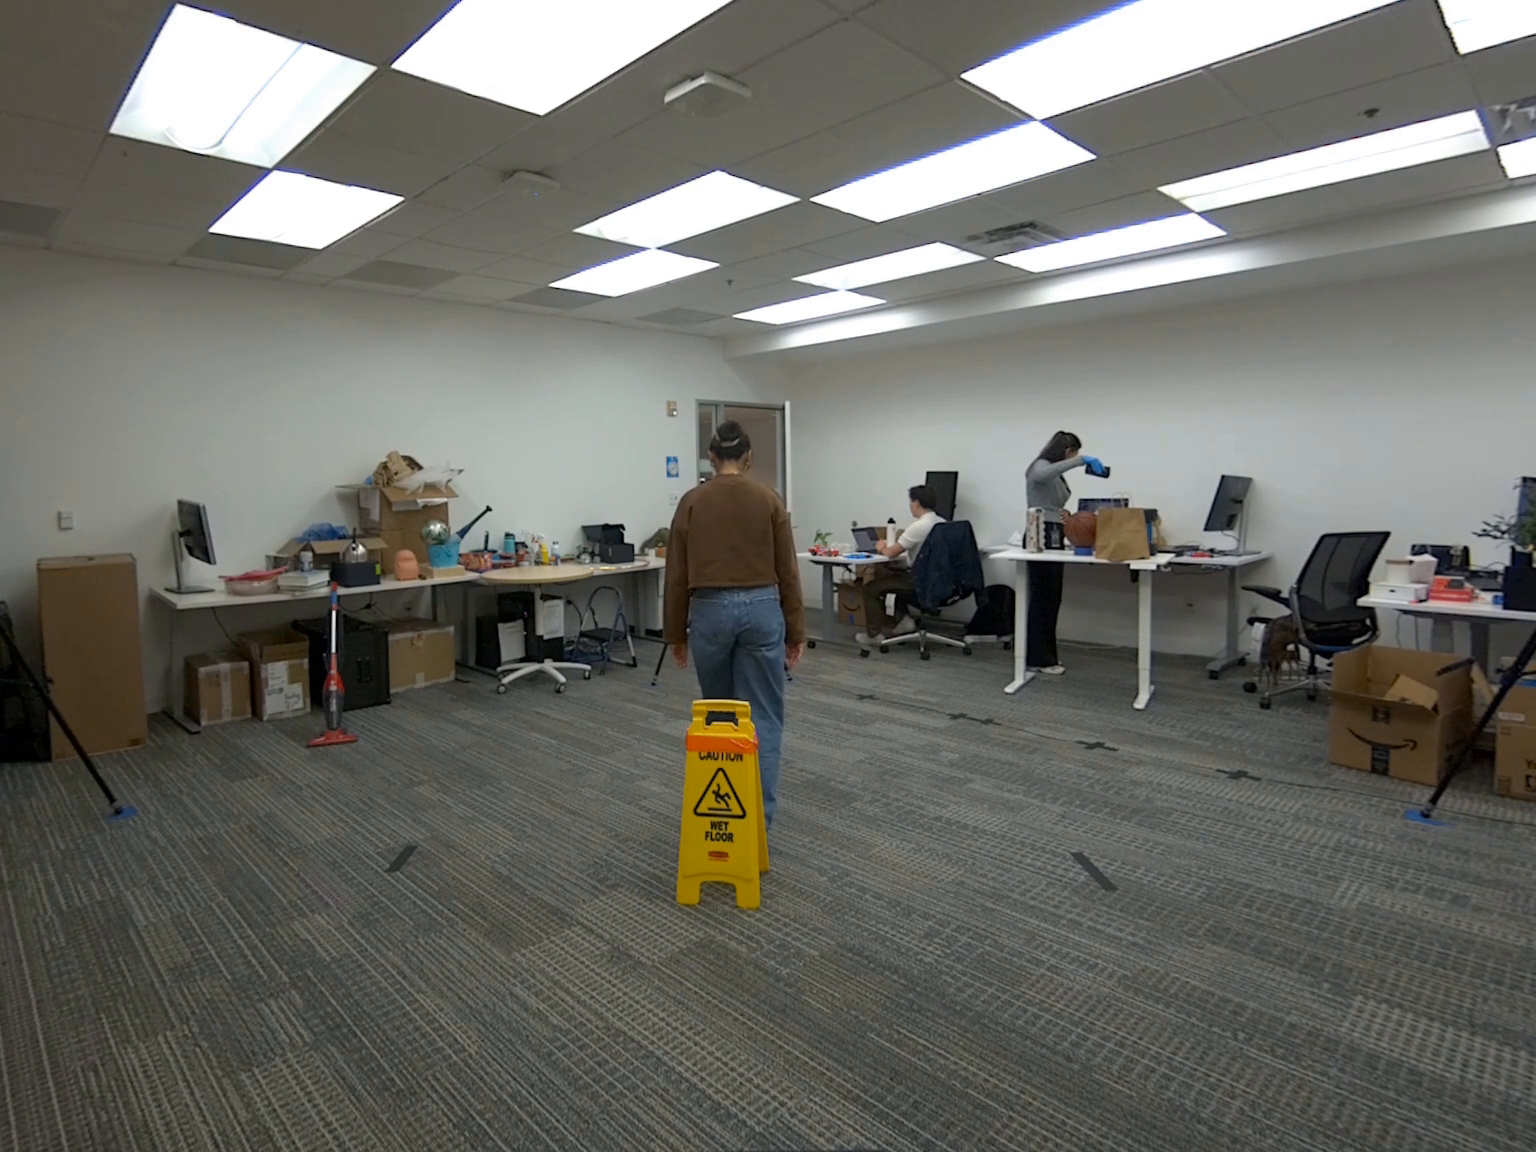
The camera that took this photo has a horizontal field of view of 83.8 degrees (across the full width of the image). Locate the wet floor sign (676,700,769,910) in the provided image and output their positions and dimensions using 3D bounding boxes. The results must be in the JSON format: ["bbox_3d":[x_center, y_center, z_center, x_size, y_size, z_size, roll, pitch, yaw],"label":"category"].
[{"bbox_3d":[-0.143,0.753,2.911,0.285,0.643,0.288,-1,4,8],"label":"wet floor sign"}]
